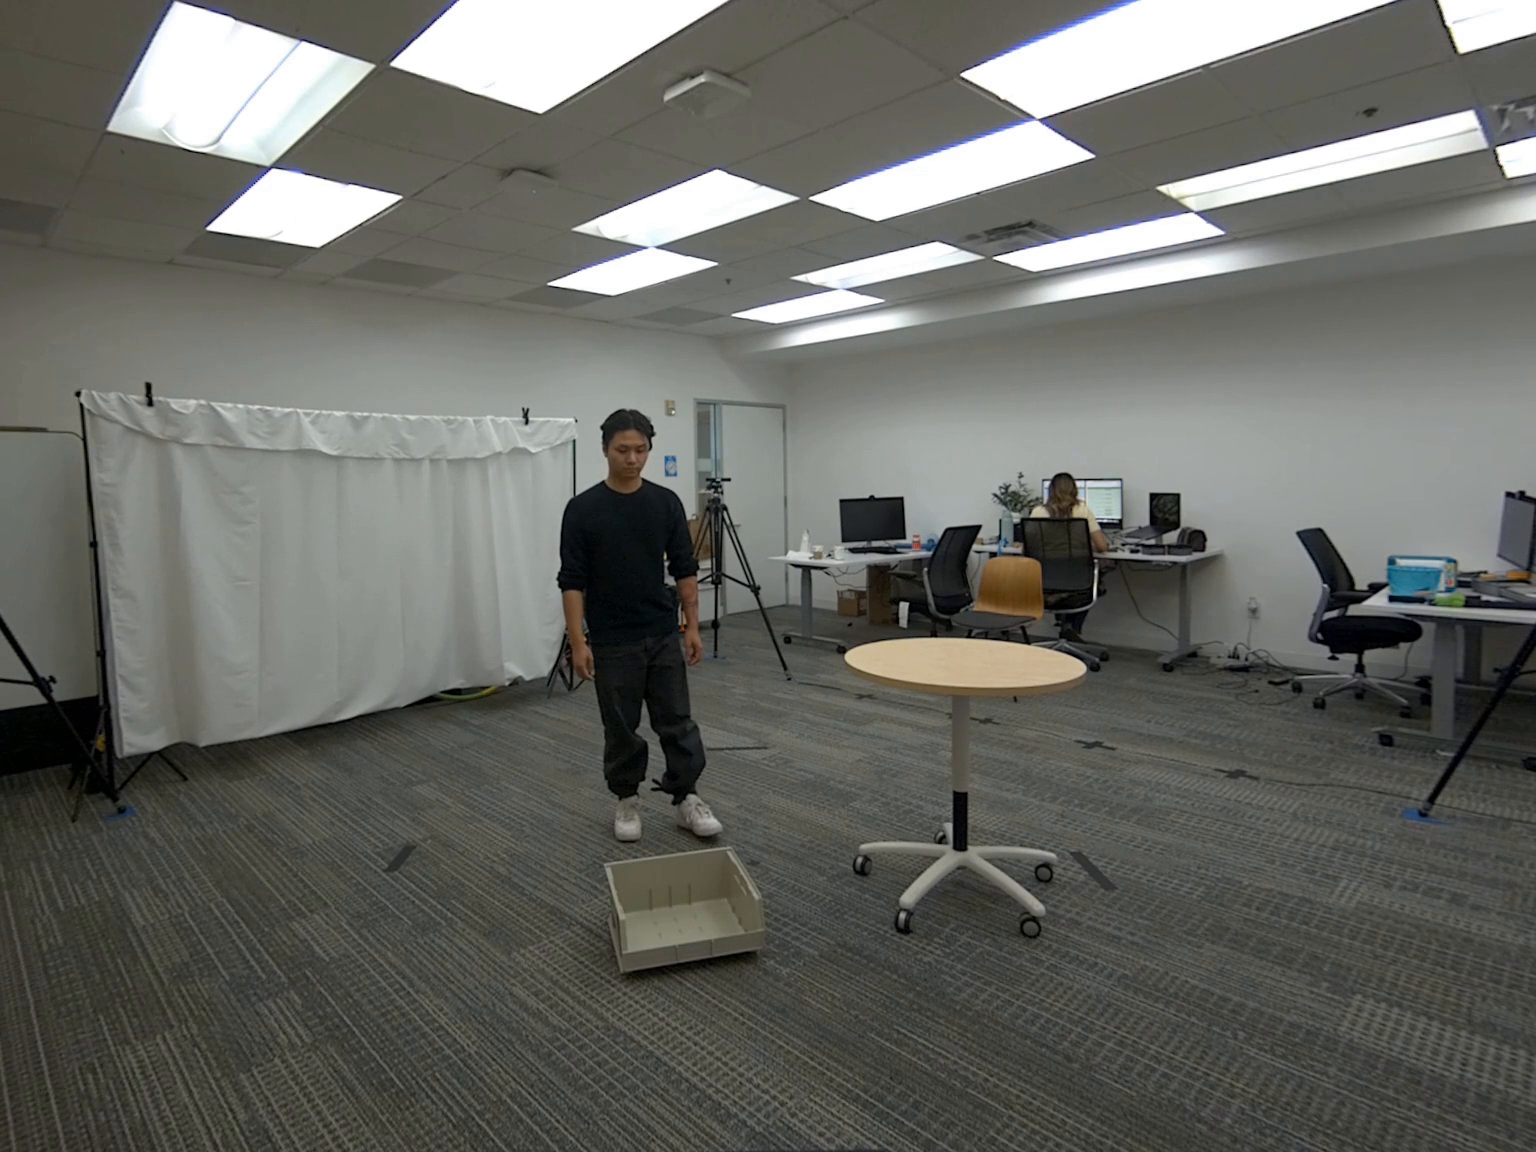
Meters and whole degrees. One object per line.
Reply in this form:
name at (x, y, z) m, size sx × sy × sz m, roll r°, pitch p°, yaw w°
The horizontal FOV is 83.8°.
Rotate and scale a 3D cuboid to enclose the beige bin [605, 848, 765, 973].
beige bin at (-0.258, 1.020, 2.593) m, size 0.416 × 0.188 × 0.384 m, roll -3°, pitch 6°, yaw -16°
